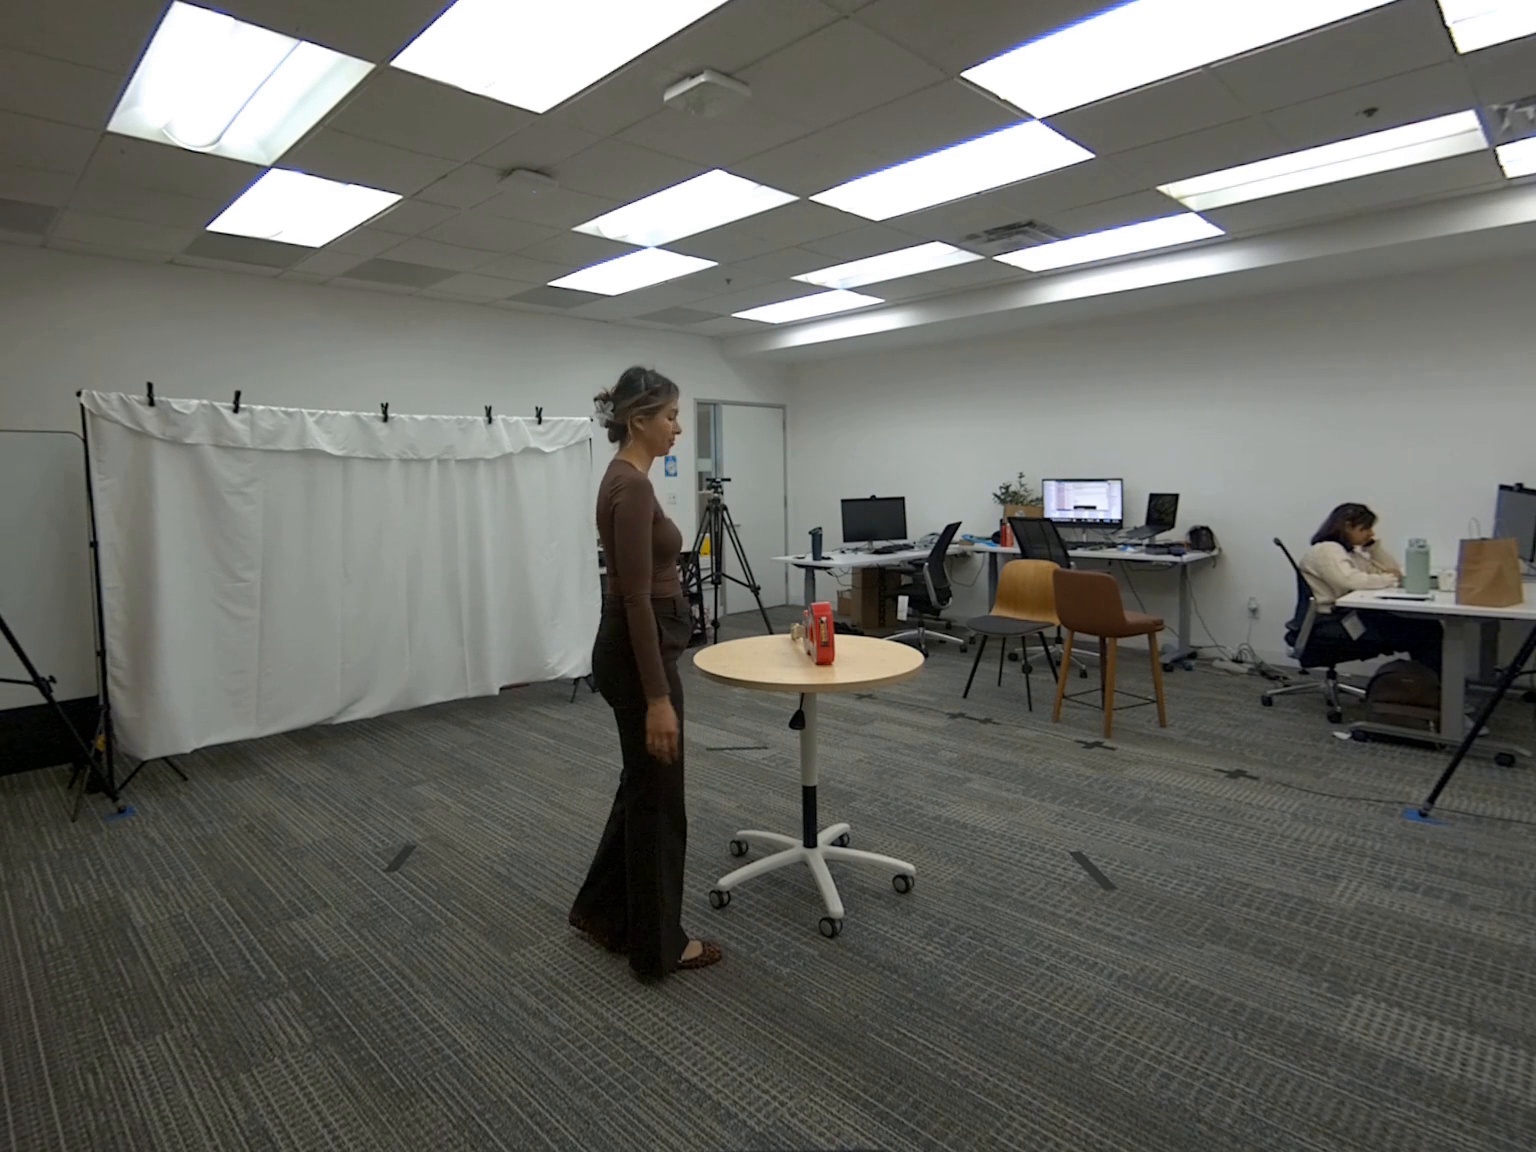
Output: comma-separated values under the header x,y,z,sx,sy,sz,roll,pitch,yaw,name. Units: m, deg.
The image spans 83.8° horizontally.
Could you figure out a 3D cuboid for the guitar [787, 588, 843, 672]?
x,y,z,sx,sy,sz,roll,pitch,yaw,name
0.152,0.171,2.938,0.070,0.192,0.503,-8,7,-7,guitar
